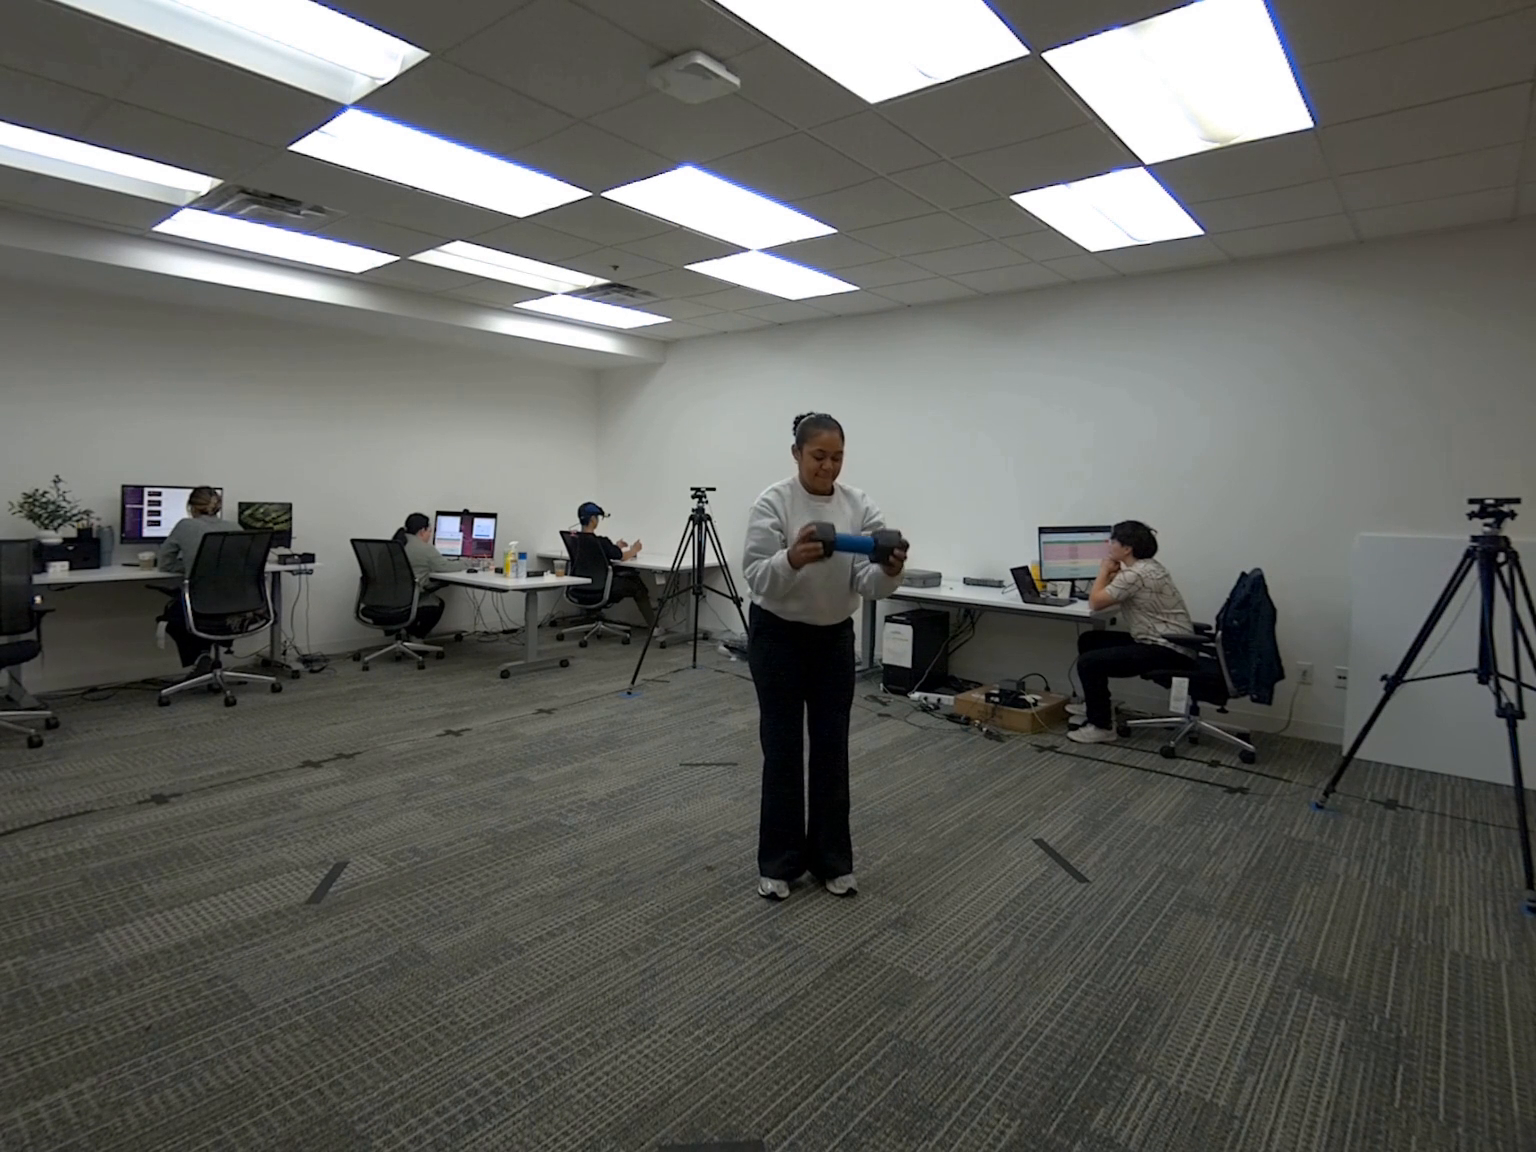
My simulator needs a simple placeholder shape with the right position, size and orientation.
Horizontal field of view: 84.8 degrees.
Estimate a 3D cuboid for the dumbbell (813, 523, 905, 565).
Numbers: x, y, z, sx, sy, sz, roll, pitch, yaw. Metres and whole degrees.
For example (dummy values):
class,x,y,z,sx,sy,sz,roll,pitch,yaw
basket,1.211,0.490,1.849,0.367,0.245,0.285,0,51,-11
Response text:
class,x,y,z,sx,sy,sz,roll,pitch,yaw
dumbbell,0.238,-0.084,2.610,0.290,0.121,0.112,9,30,-11
